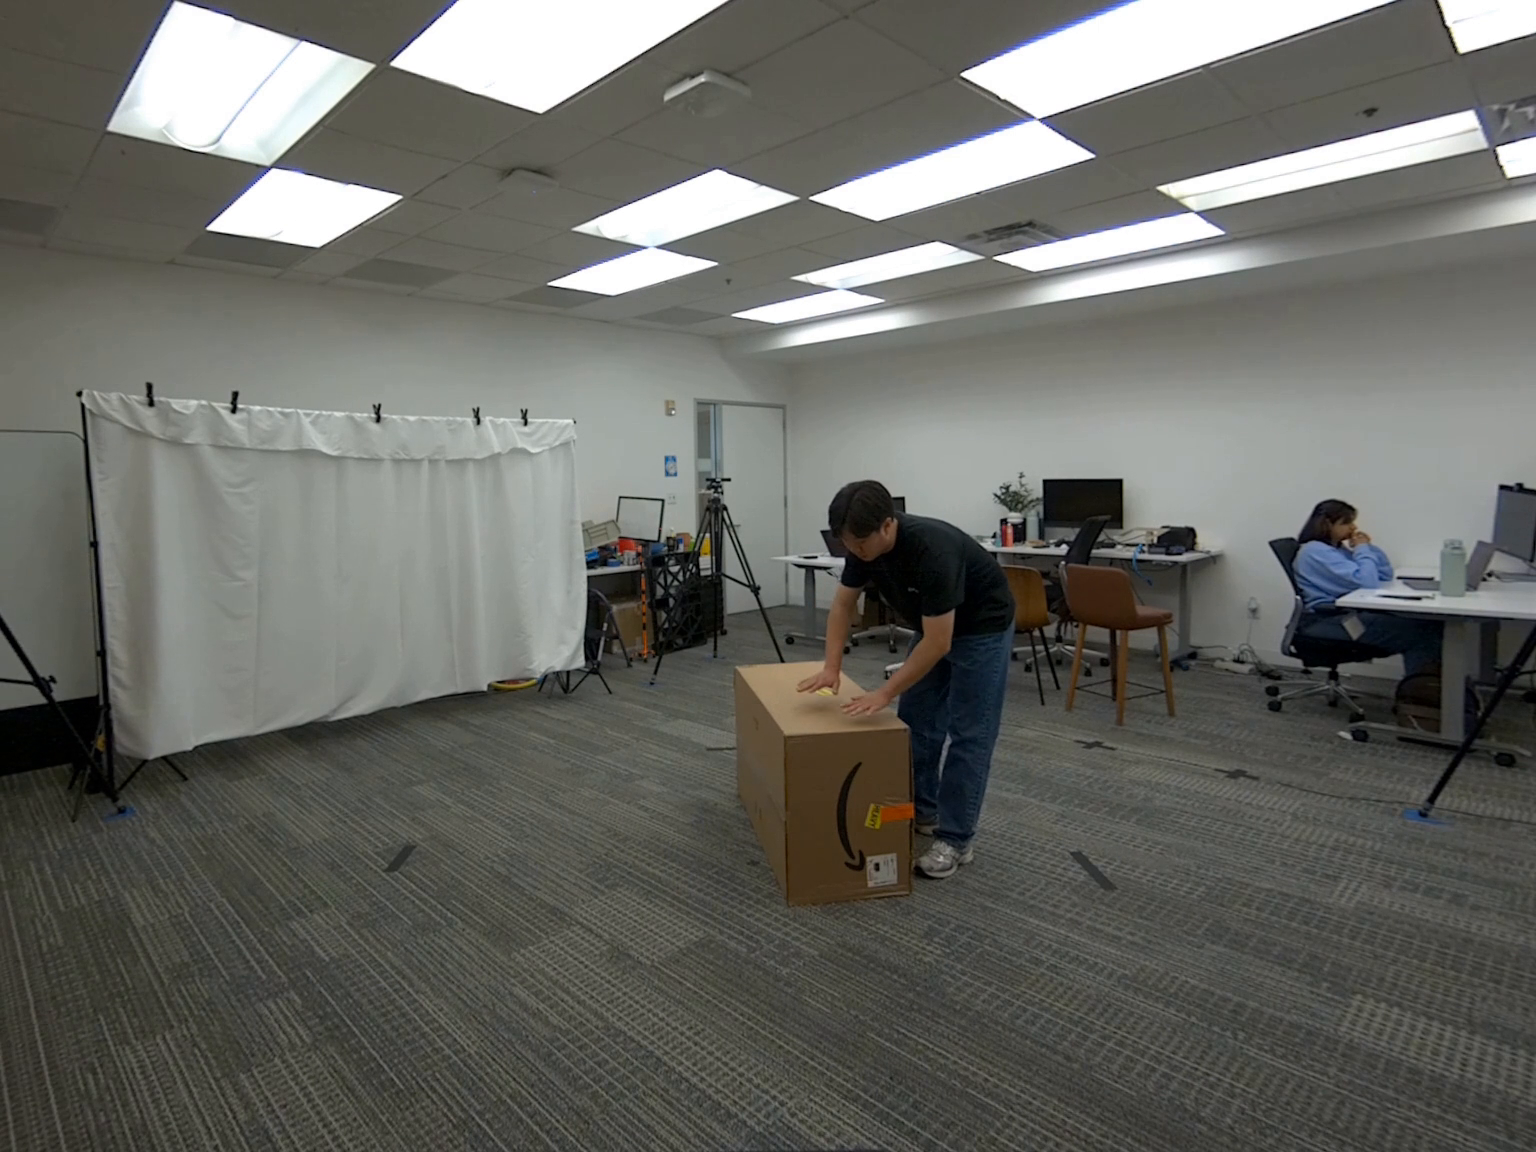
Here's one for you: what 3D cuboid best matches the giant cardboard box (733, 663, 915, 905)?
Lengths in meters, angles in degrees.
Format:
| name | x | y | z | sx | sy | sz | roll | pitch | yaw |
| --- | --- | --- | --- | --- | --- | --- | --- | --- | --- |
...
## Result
| name | x | y | z | sx | sy | sz | roll | pitch | yaw |
| --- | --- | --- | --- | --- | --- | --- | --- | --- | --- |
| giant cardboard box | 0.169 | 0.727 | 3.296 | 0.442 | 0.581 | 1.042 | -1 | 6 | -12 |
